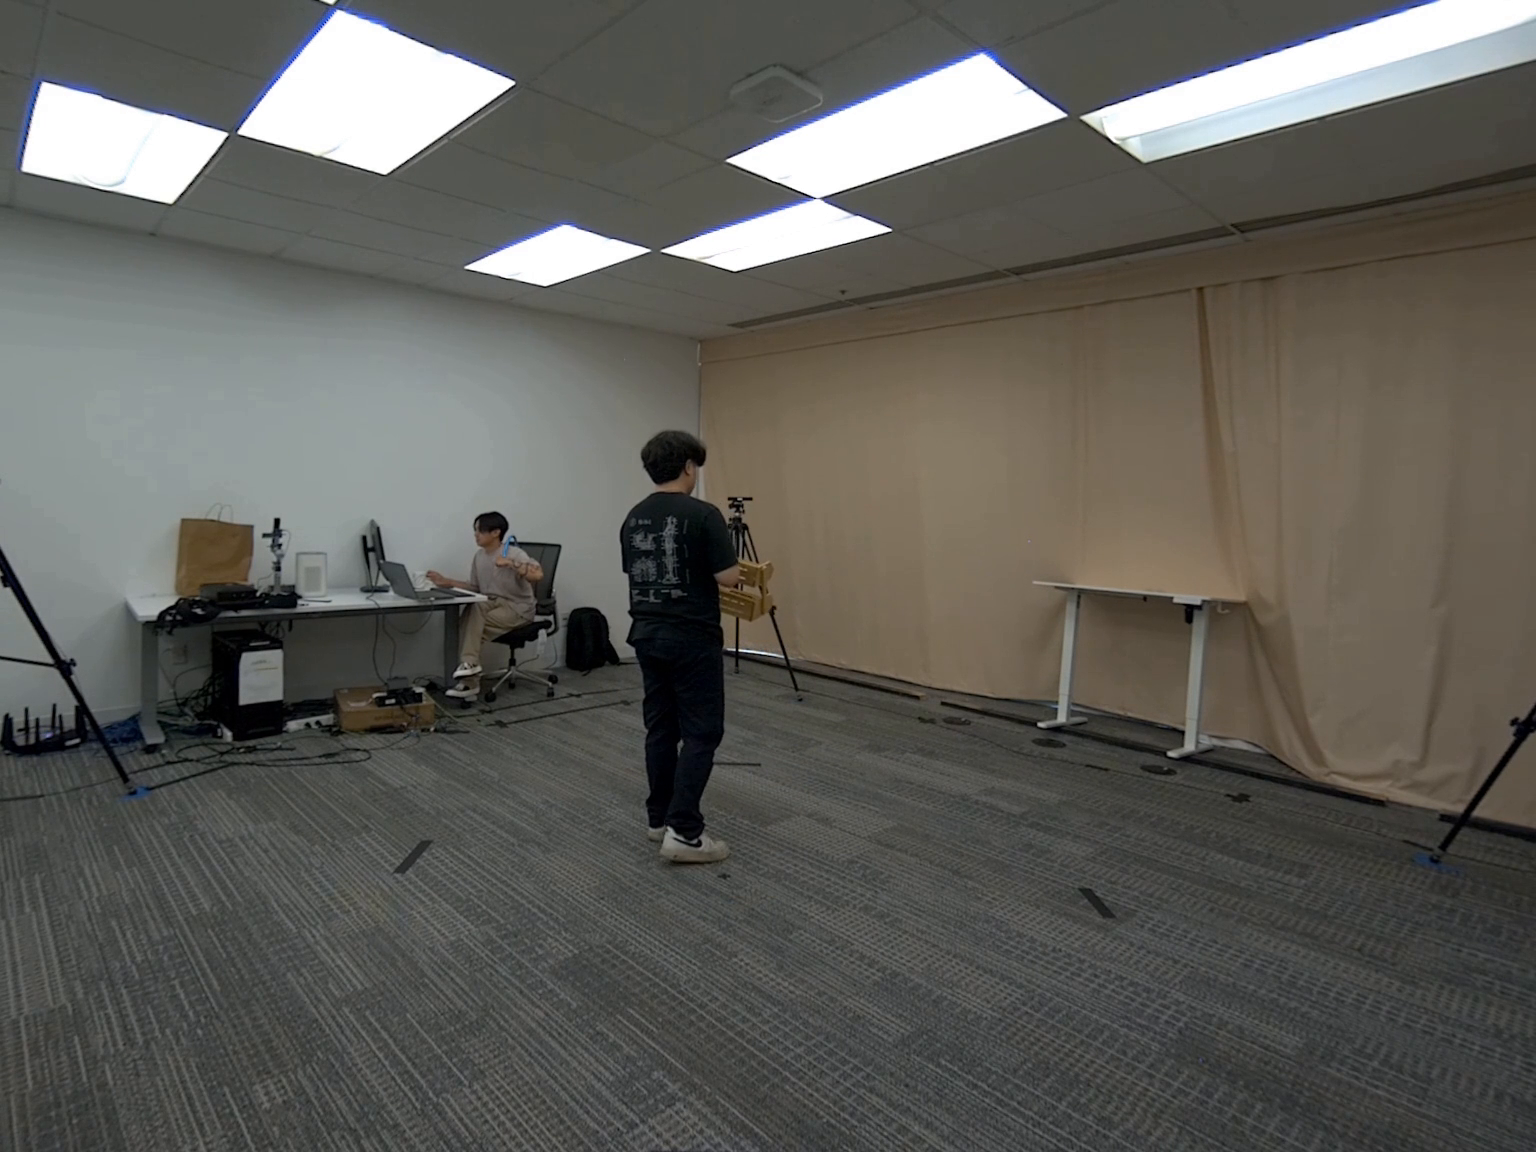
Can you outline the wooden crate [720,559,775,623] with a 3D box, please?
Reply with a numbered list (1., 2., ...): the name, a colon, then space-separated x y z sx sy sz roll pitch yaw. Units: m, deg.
1. wooden crate: -0.152 0.014 3.762 0.330 0.271 0.299 15 16 19
